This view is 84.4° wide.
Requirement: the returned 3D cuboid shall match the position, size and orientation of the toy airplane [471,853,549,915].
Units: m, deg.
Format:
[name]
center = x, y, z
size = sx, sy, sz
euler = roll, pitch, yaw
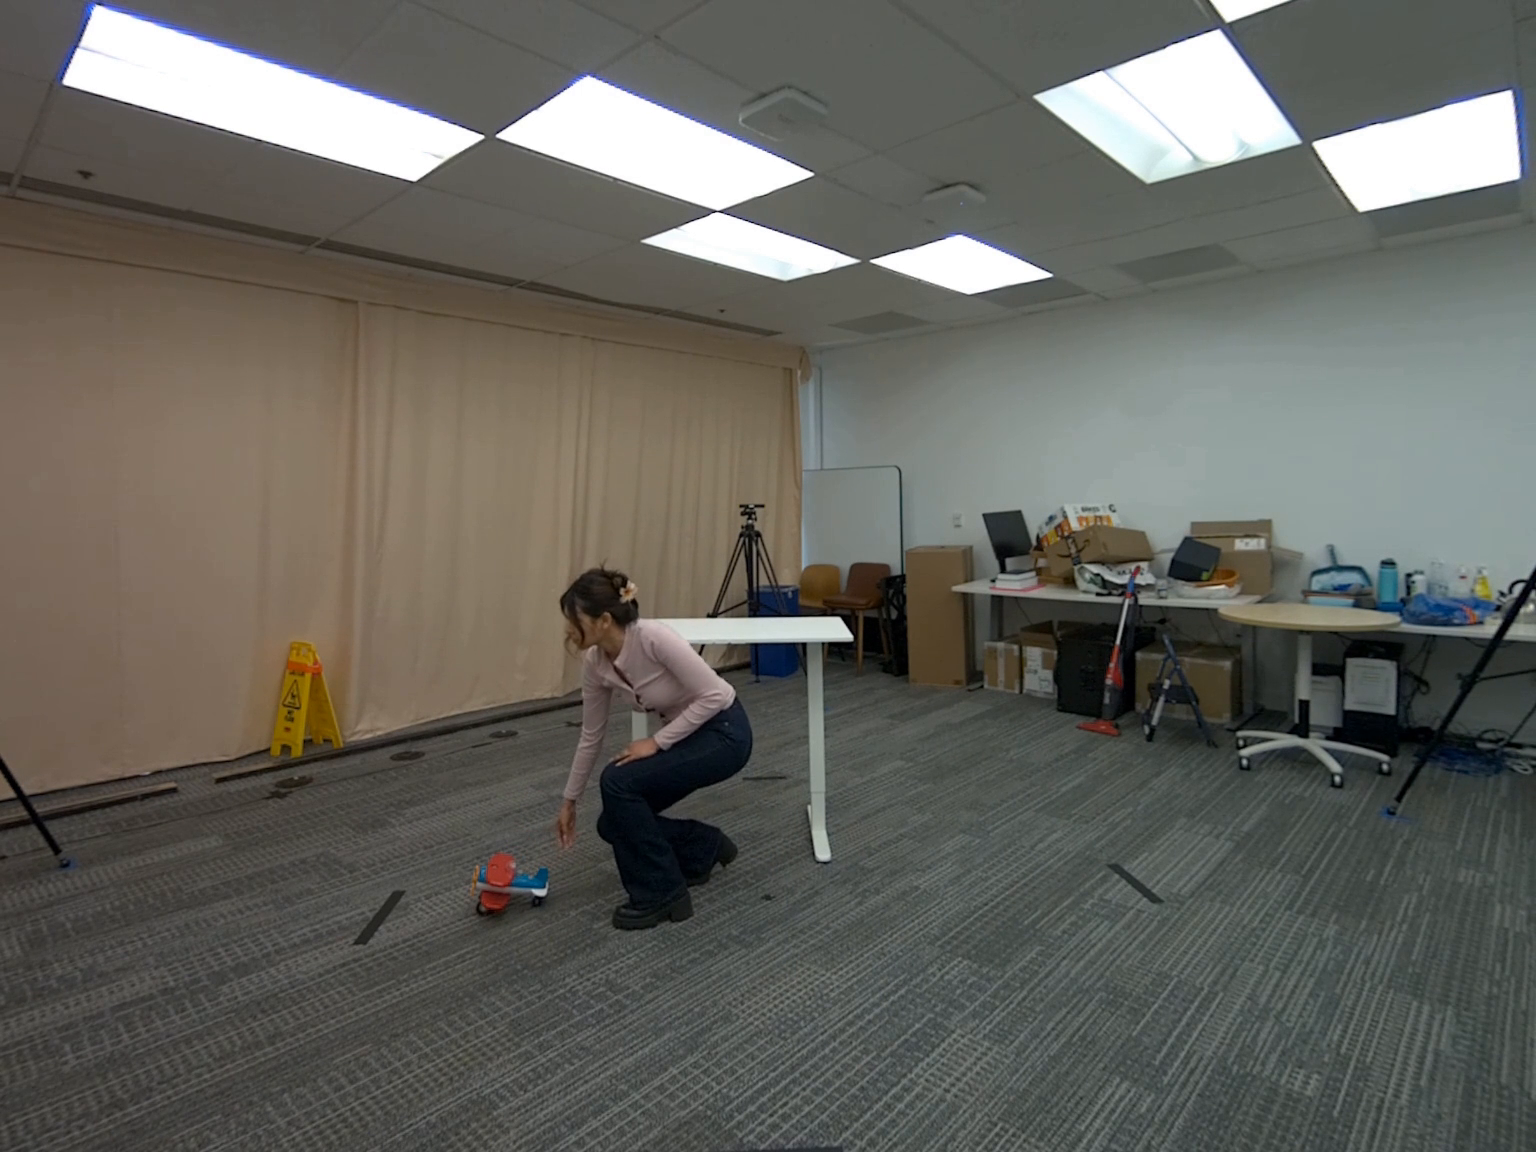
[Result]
[toy airplane]
center = -0.913, 1.094, 2.975
size = 0.252, 0.156, 0.259
euler = -5, 4, -37
